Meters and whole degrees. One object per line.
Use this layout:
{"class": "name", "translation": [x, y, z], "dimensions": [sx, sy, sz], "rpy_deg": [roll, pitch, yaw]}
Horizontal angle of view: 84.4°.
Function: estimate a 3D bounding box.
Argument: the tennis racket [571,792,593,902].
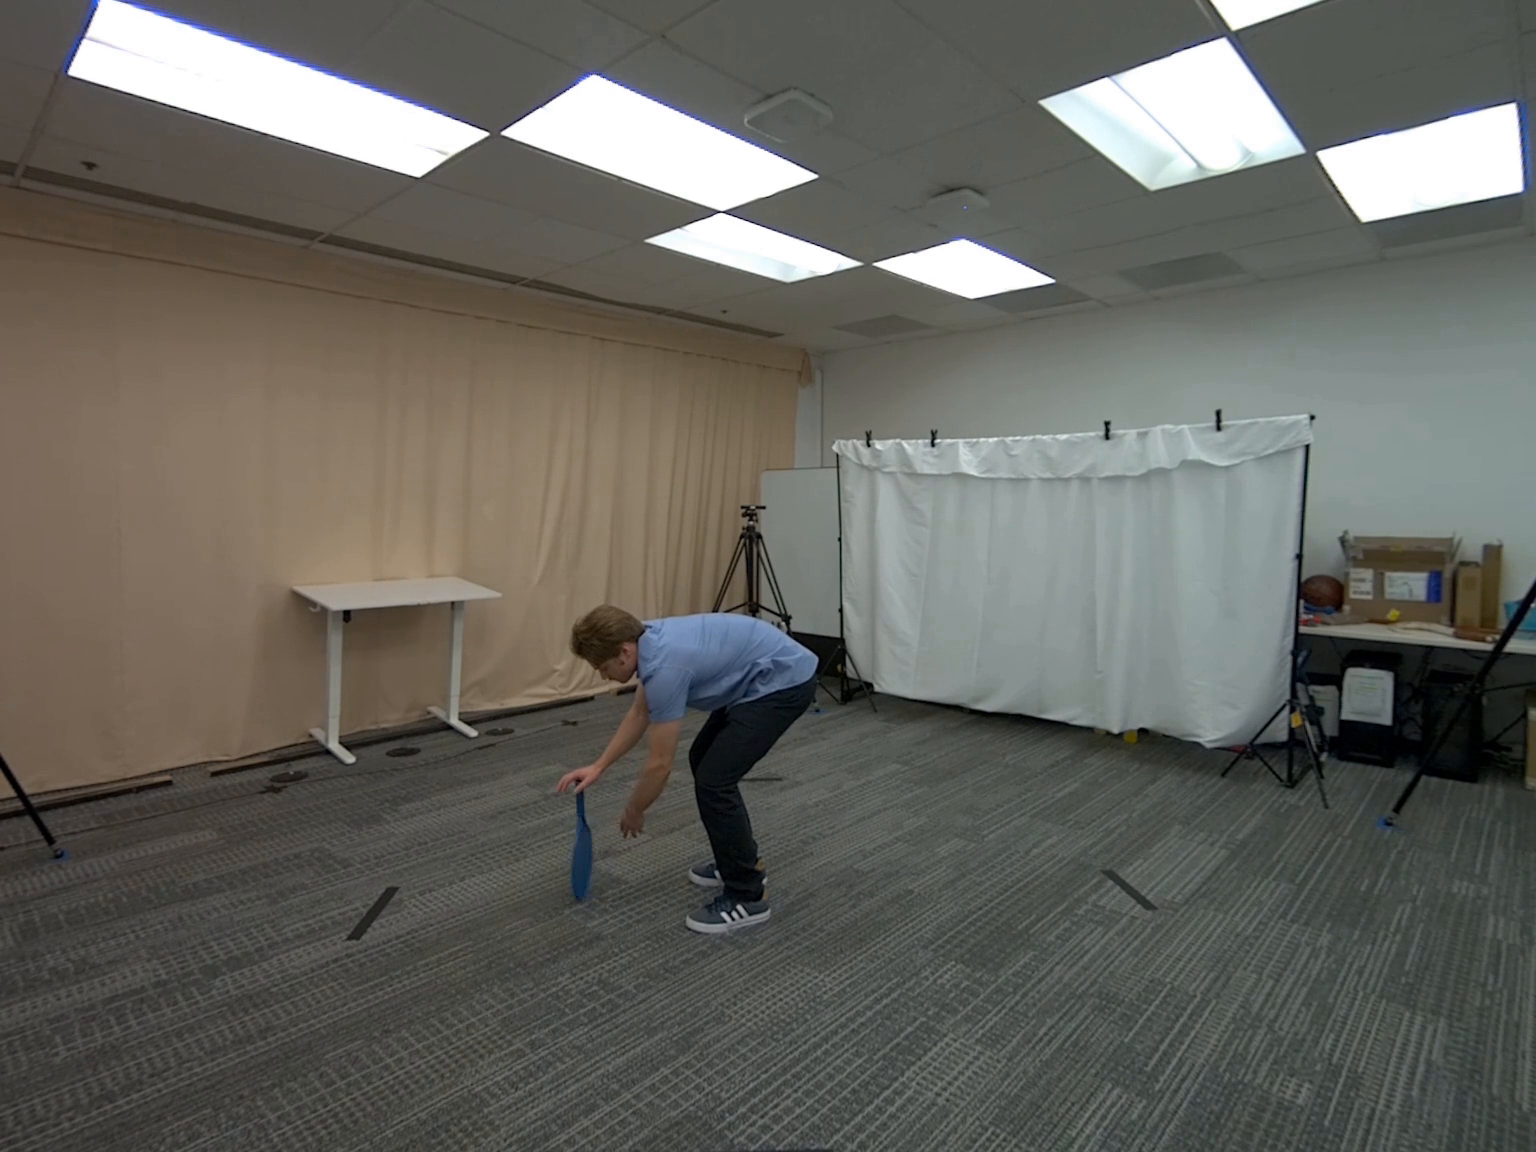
{"class": "tennis racket", "translation": [-0.636, 0.939, 2.983], "dimensions": [0.208, 0.431, 0.033], "rpy_deg": [-3, 6, -27]}
